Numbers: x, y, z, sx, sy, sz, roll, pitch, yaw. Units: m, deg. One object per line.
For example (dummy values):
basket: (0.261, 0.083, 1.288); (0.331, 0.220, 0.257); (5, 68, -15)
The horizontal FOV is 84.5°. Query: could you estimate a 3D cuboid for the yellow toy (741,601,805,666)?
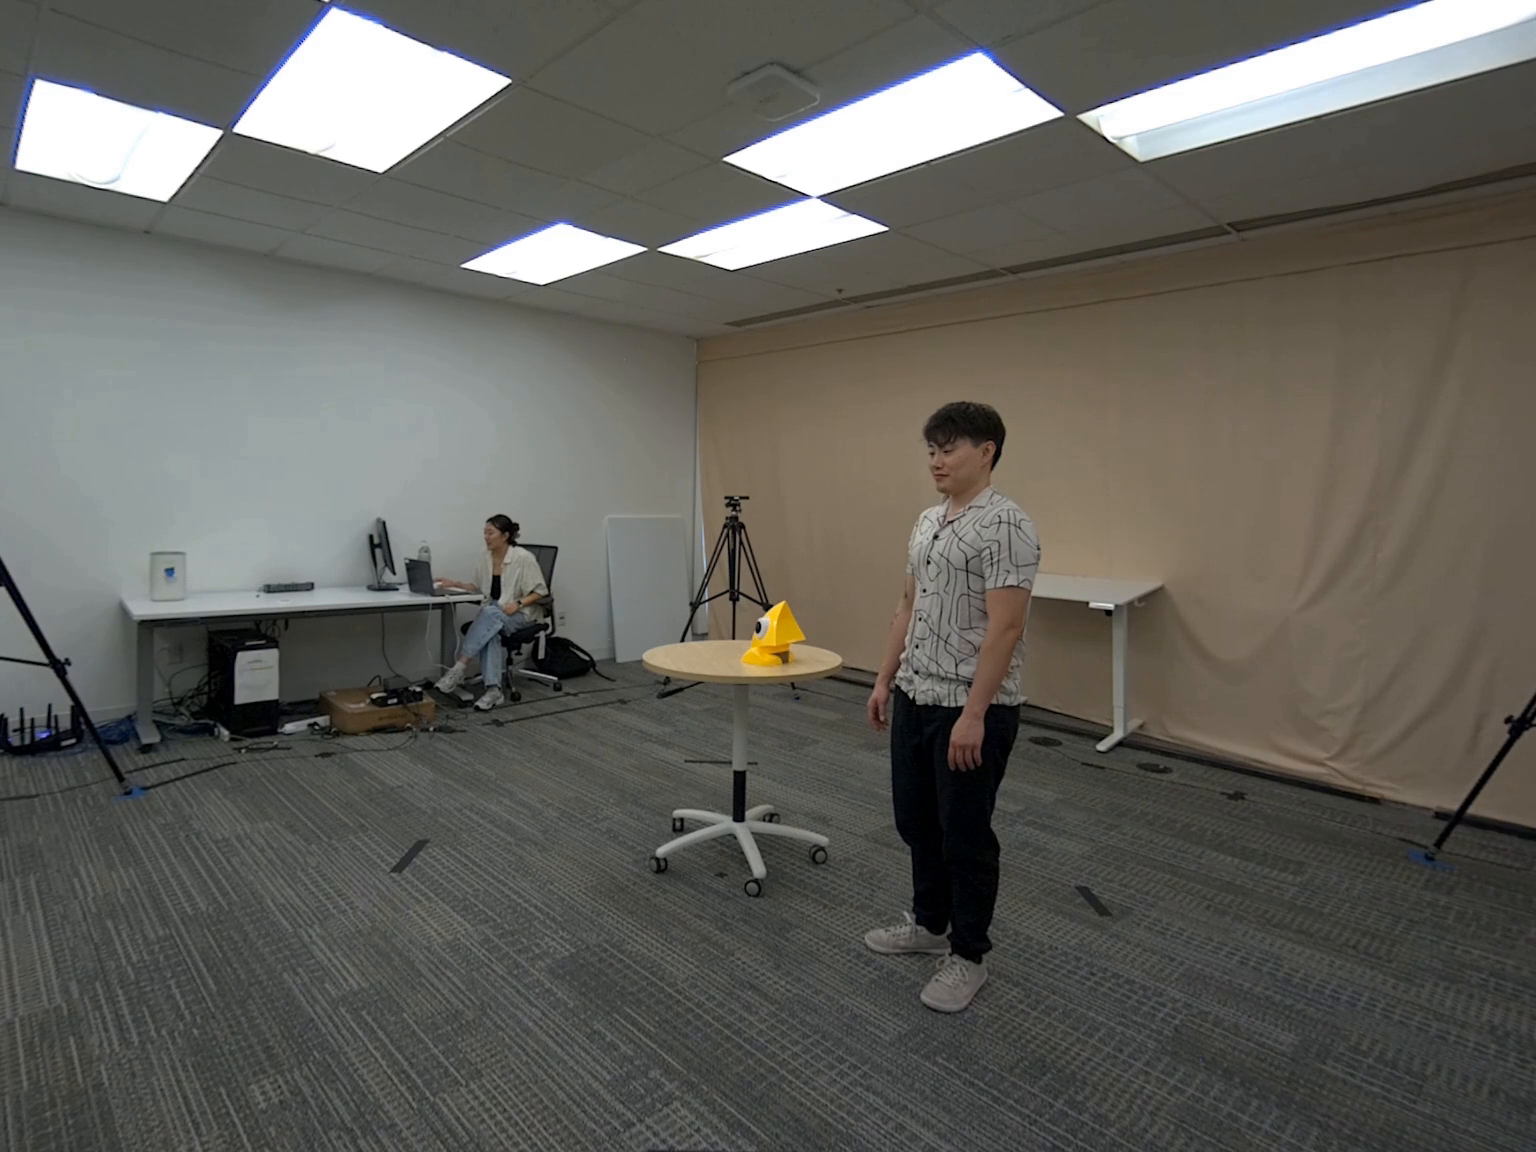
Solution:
yellow toy: (0.002, 0.204, 3.148); (0.198, 0.230, 0.200); (4, 5, 36)
